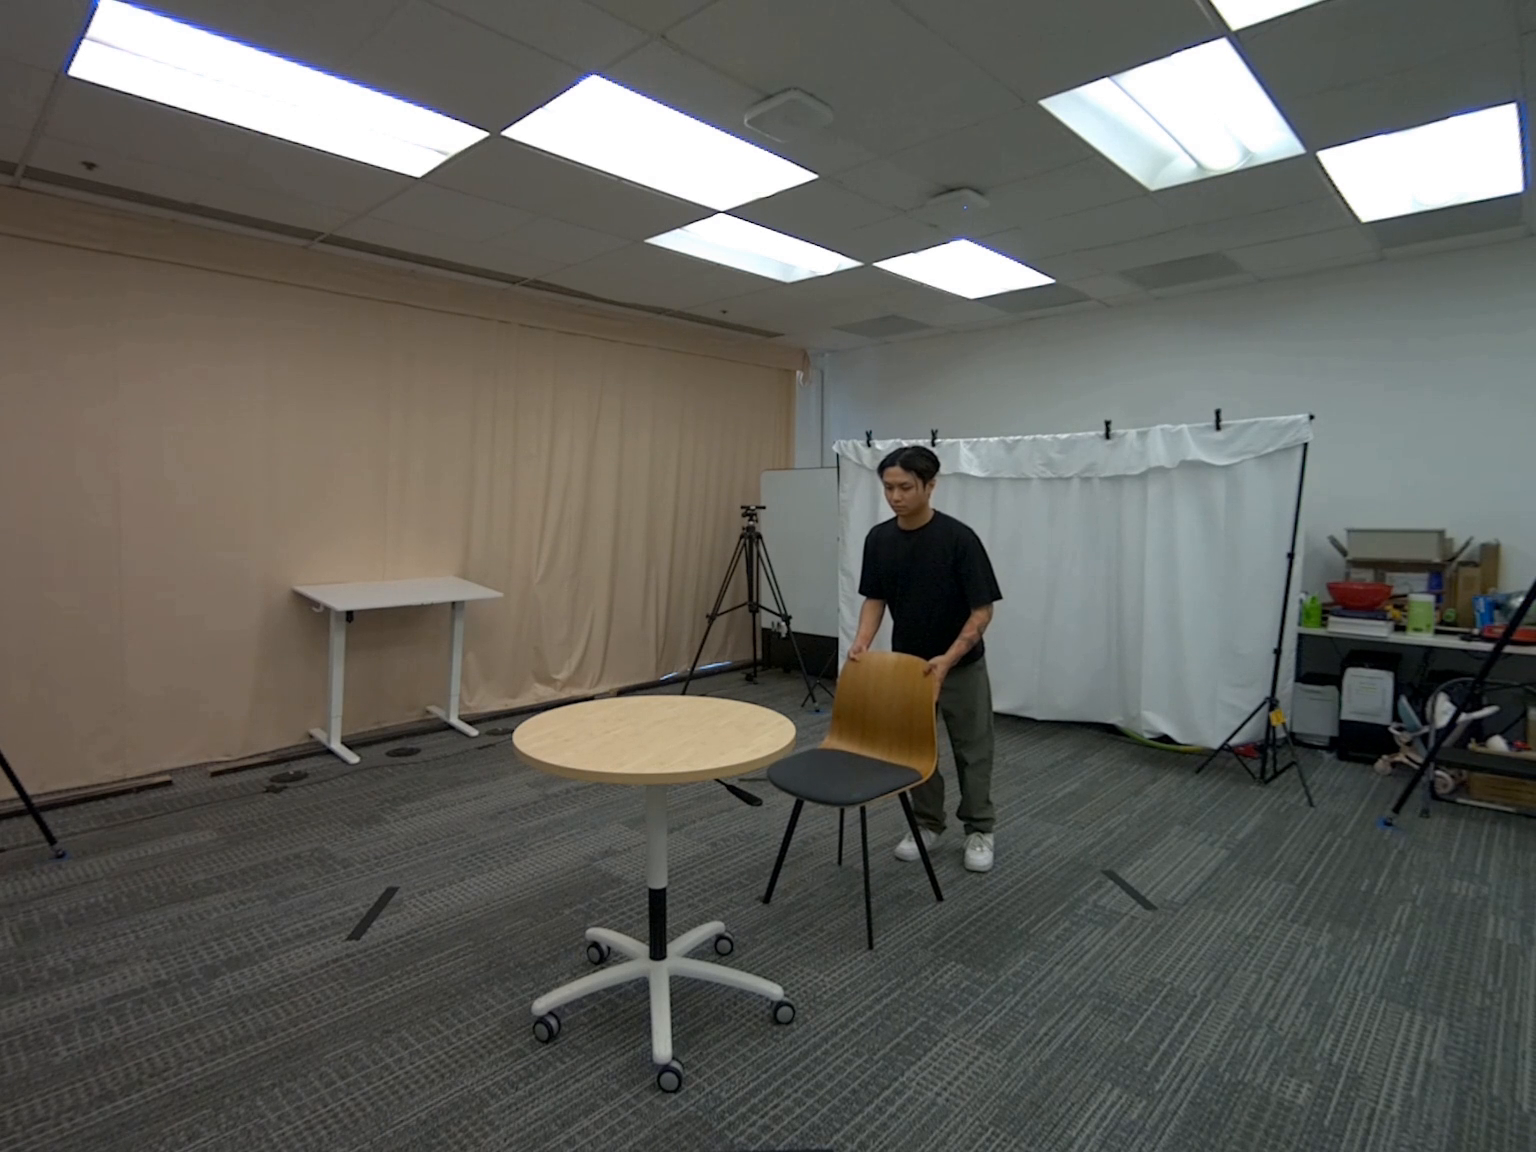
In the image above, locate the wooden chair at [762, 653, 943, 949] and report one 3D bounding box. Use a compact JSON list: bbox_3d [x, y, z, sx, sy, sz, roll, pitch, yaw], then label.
[{"bbox_3d":[0.295,0.720,2.914,0.494,0.877,0.506,3,1,42],"label":"wooden chair"}]
